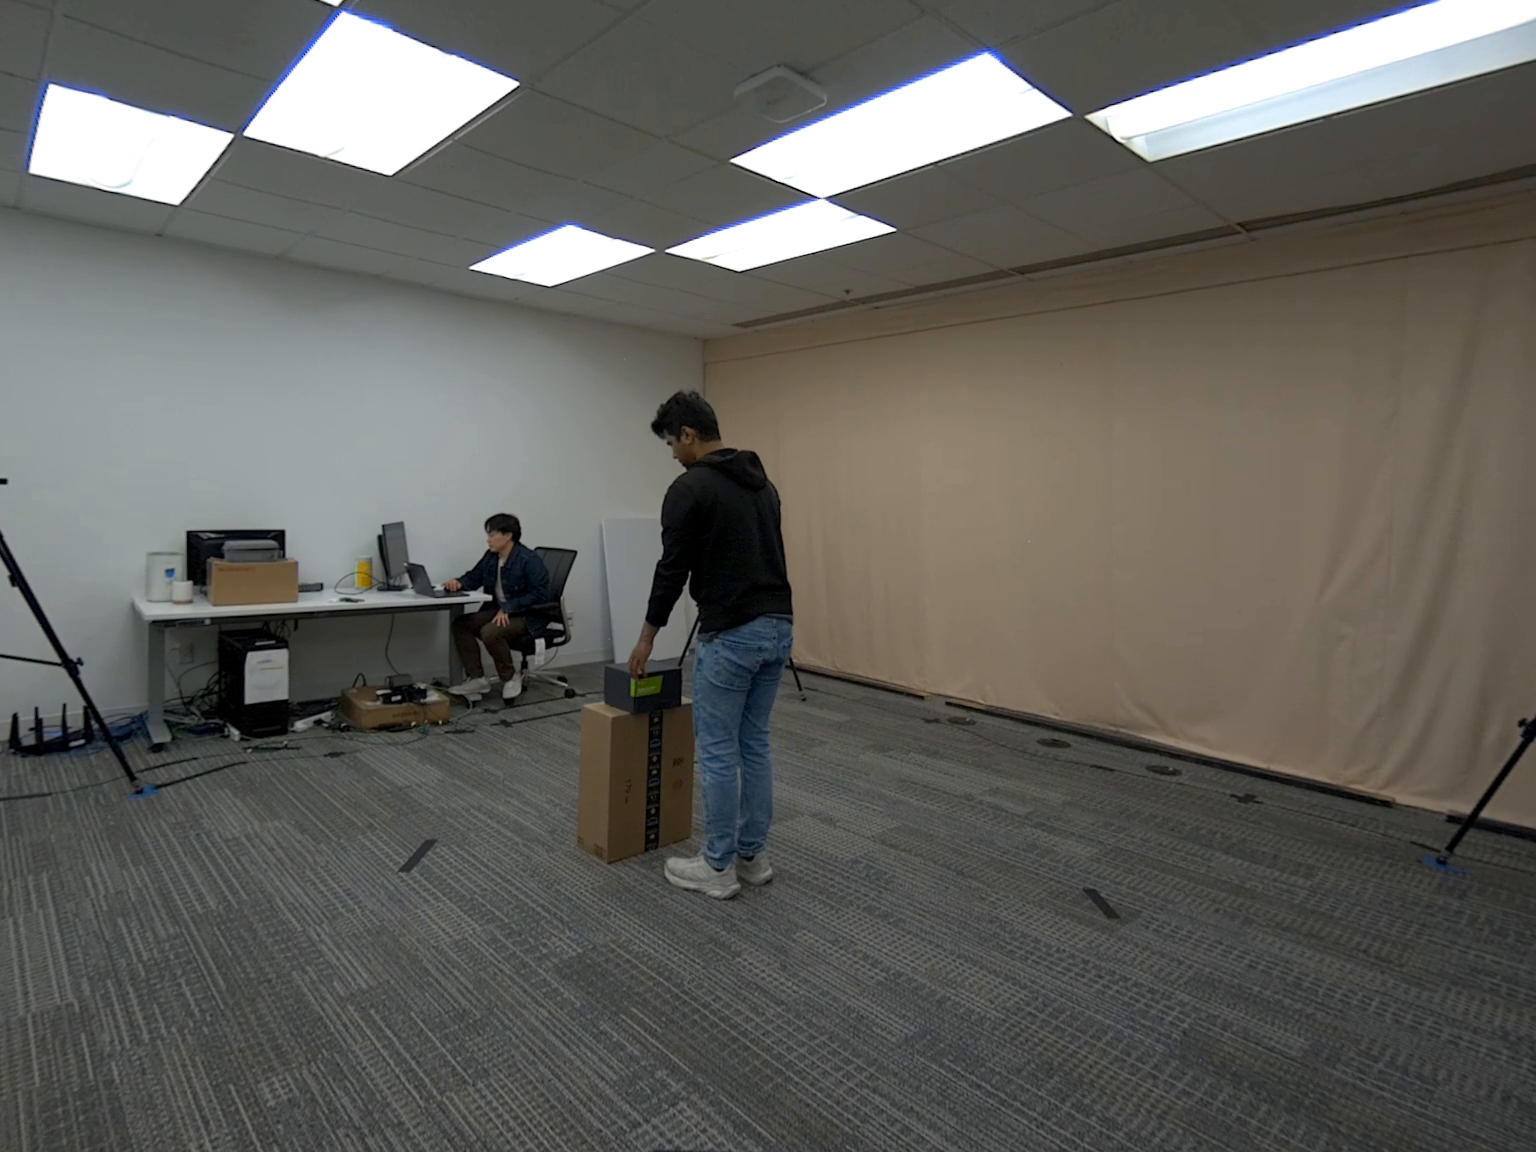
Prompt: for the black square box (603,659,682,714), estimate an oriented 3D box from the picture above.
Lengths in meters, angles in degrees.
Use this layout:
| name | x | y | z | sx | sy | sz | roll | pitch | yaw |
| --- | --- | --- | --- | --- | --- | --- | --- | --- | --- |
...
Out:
| name | x | y | z | sx | sy | sz | roll | pitch | yaw |
| --- | --- | --- | --- | --- | --- | --- | --- | --- | --- |
| black square box | -0.507 | 0.435 | 3.335 | 0.223 | 0.155 | 0.222 | -3 | 7 | -43 |
